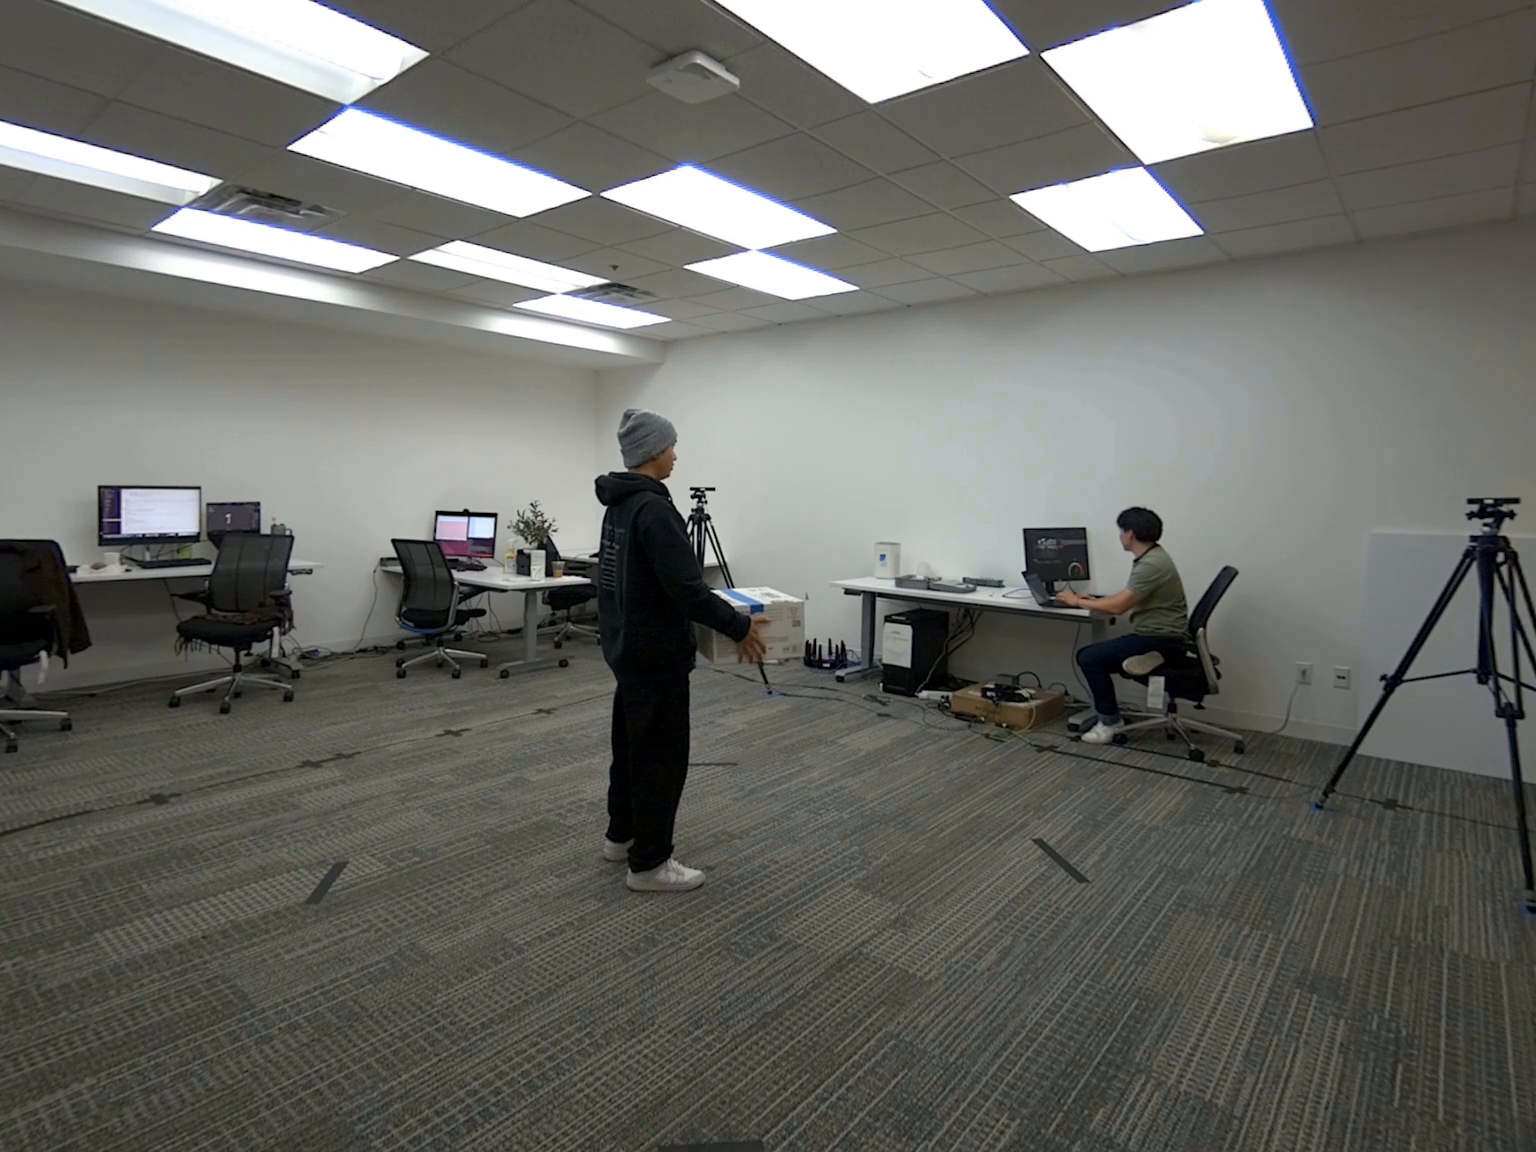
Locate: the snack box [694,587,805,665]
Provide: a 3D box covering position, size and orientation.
[{"bbox_3d":[-0.105,0.177,3.158,0.335,0.204,0.414,-4,7,-18],"label":"snack box"}]
